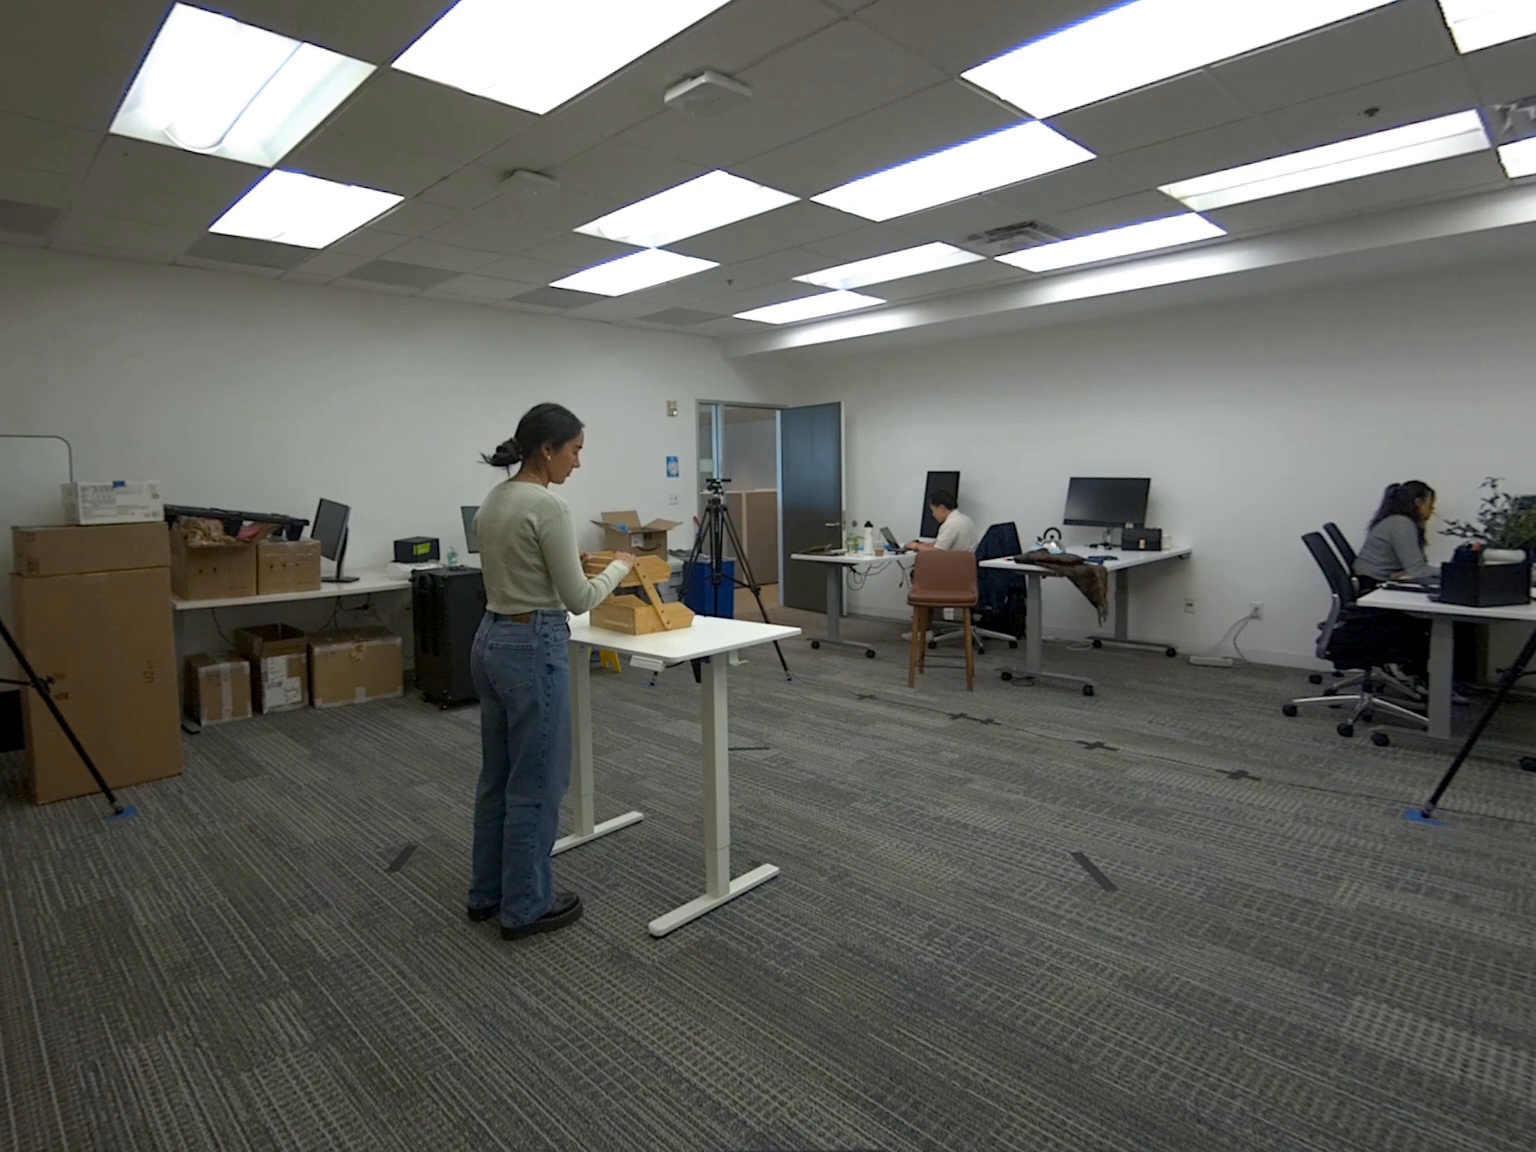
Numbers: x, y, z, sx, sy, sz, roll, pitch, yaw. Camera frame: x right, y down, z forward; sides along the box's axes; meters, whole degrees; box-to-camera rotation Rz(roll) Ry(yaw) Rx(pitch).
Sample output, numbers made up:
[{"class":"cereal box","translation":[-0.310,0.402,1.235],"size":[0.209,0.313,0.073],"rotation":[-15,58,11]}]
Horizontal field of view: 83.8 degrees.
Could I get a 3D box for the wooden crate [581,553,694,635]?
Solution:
[{"class":"wooden crate","translation":[-0.473,0.049,3.012],"size":[0.294,0.272,0.334],"rotation":[-6,7,-40]}]
